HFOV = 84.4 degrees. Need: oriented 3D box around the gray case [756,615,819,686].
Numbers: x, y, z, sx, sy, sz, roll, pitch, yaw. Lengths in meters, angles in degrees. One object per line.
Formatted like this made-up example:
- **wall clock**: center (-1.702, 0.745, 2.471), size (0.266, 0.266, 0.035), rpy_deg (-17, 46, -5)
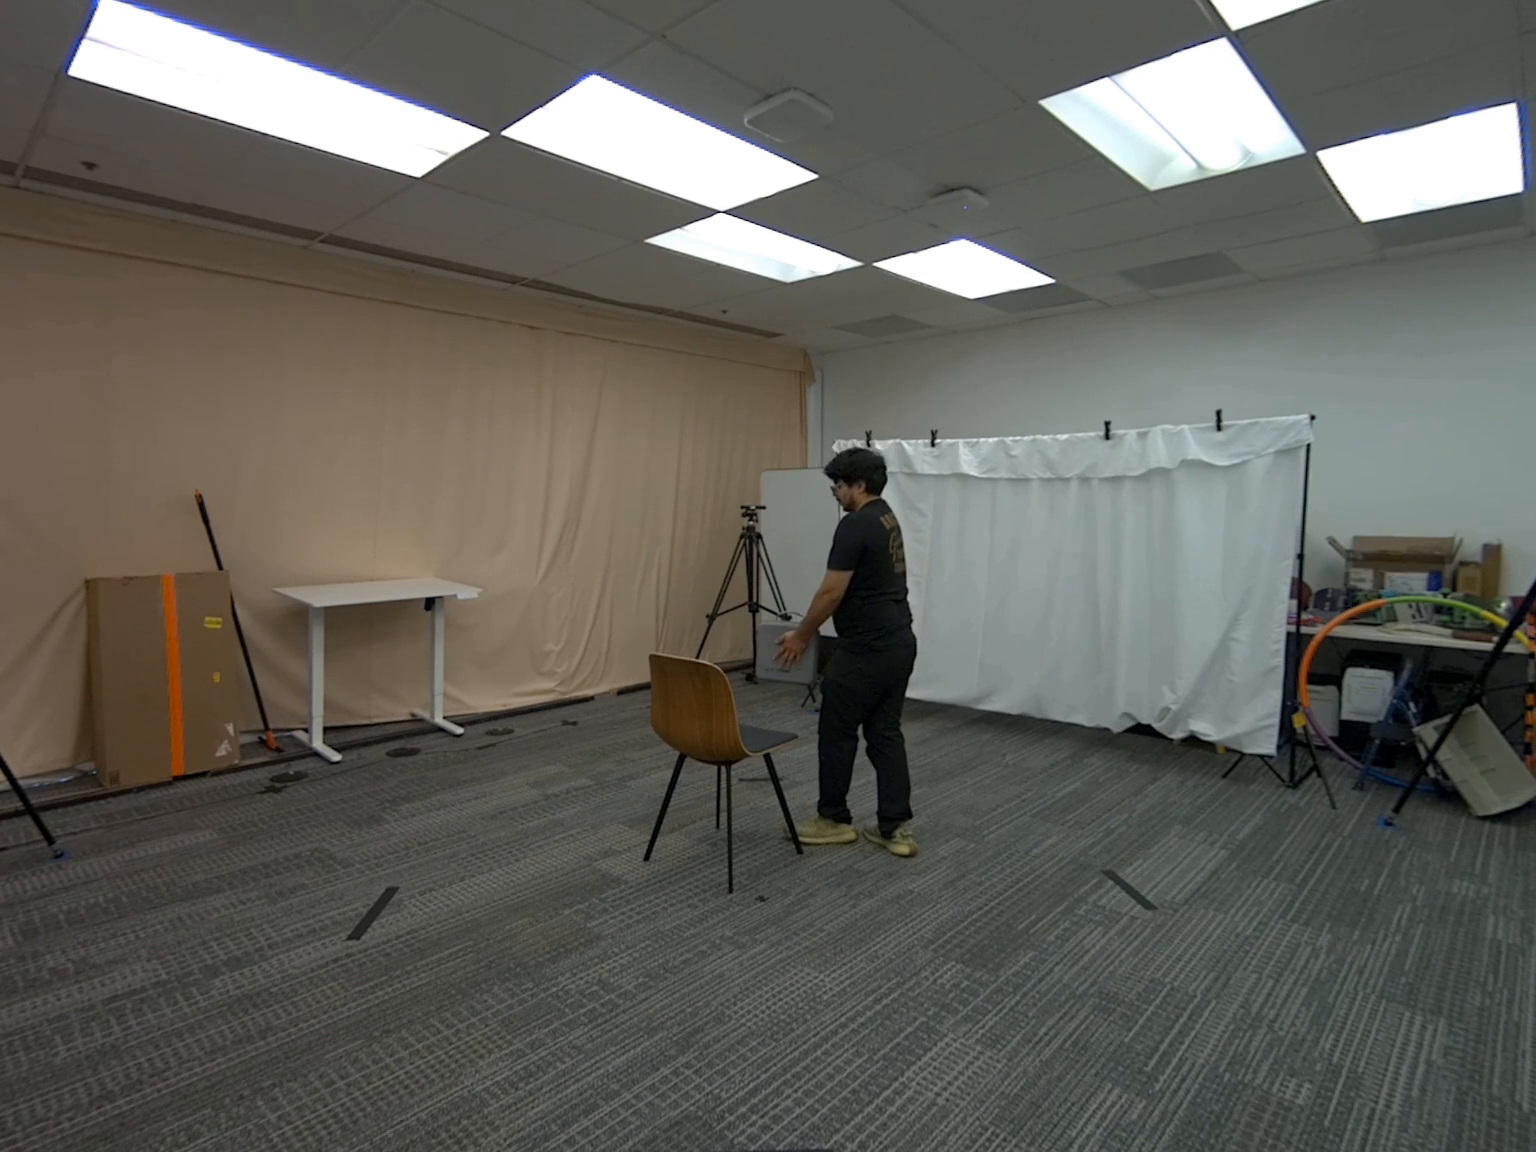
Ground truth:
- **gray case**: center (0.081, 0.317, 3.541), size (0.261, 0.260, 0.103), rpy_deg (5, 3, 12)
